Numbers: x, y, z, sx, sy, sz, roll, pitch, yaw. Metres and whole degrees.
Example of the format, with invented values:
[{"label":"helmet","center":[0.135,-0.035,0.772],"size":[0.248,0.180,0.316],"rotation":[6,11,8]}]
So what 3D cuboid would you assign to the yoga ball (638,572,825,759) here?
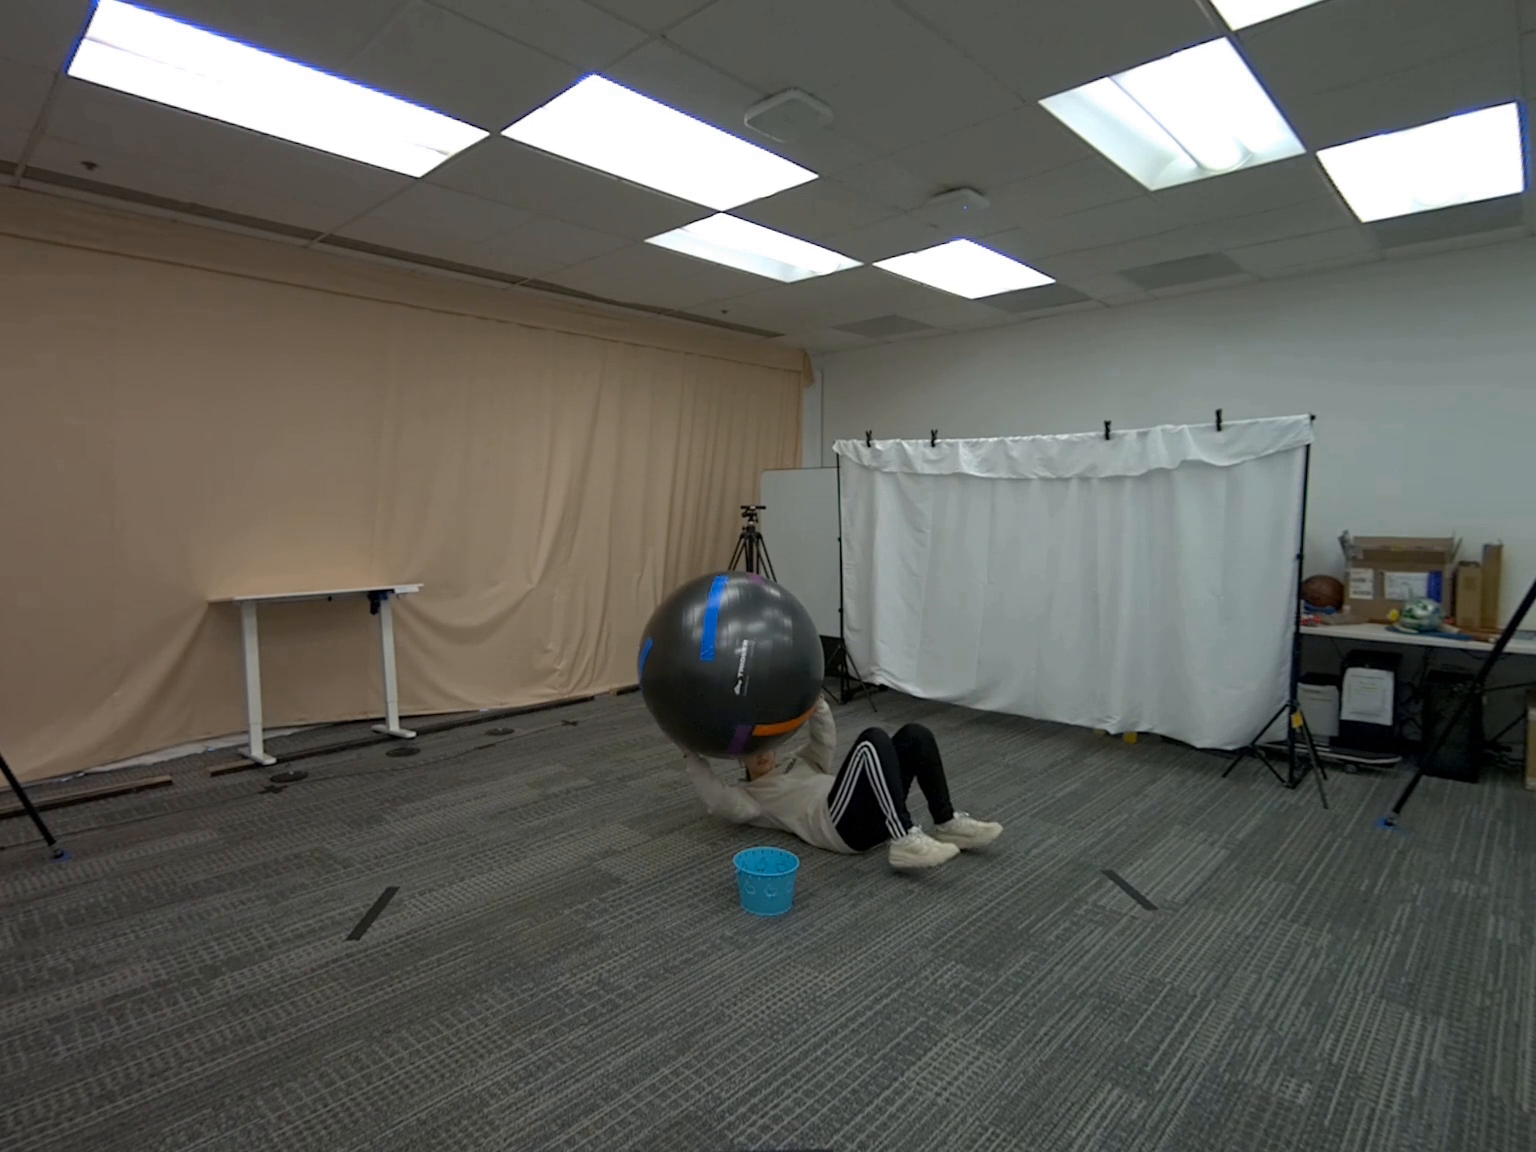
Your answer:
[{"label":"yoga ball","center":[-0.148,0.360,3.433],"size":[0.757,0.756,0.760],"rotation":[0,4,-2]}]
